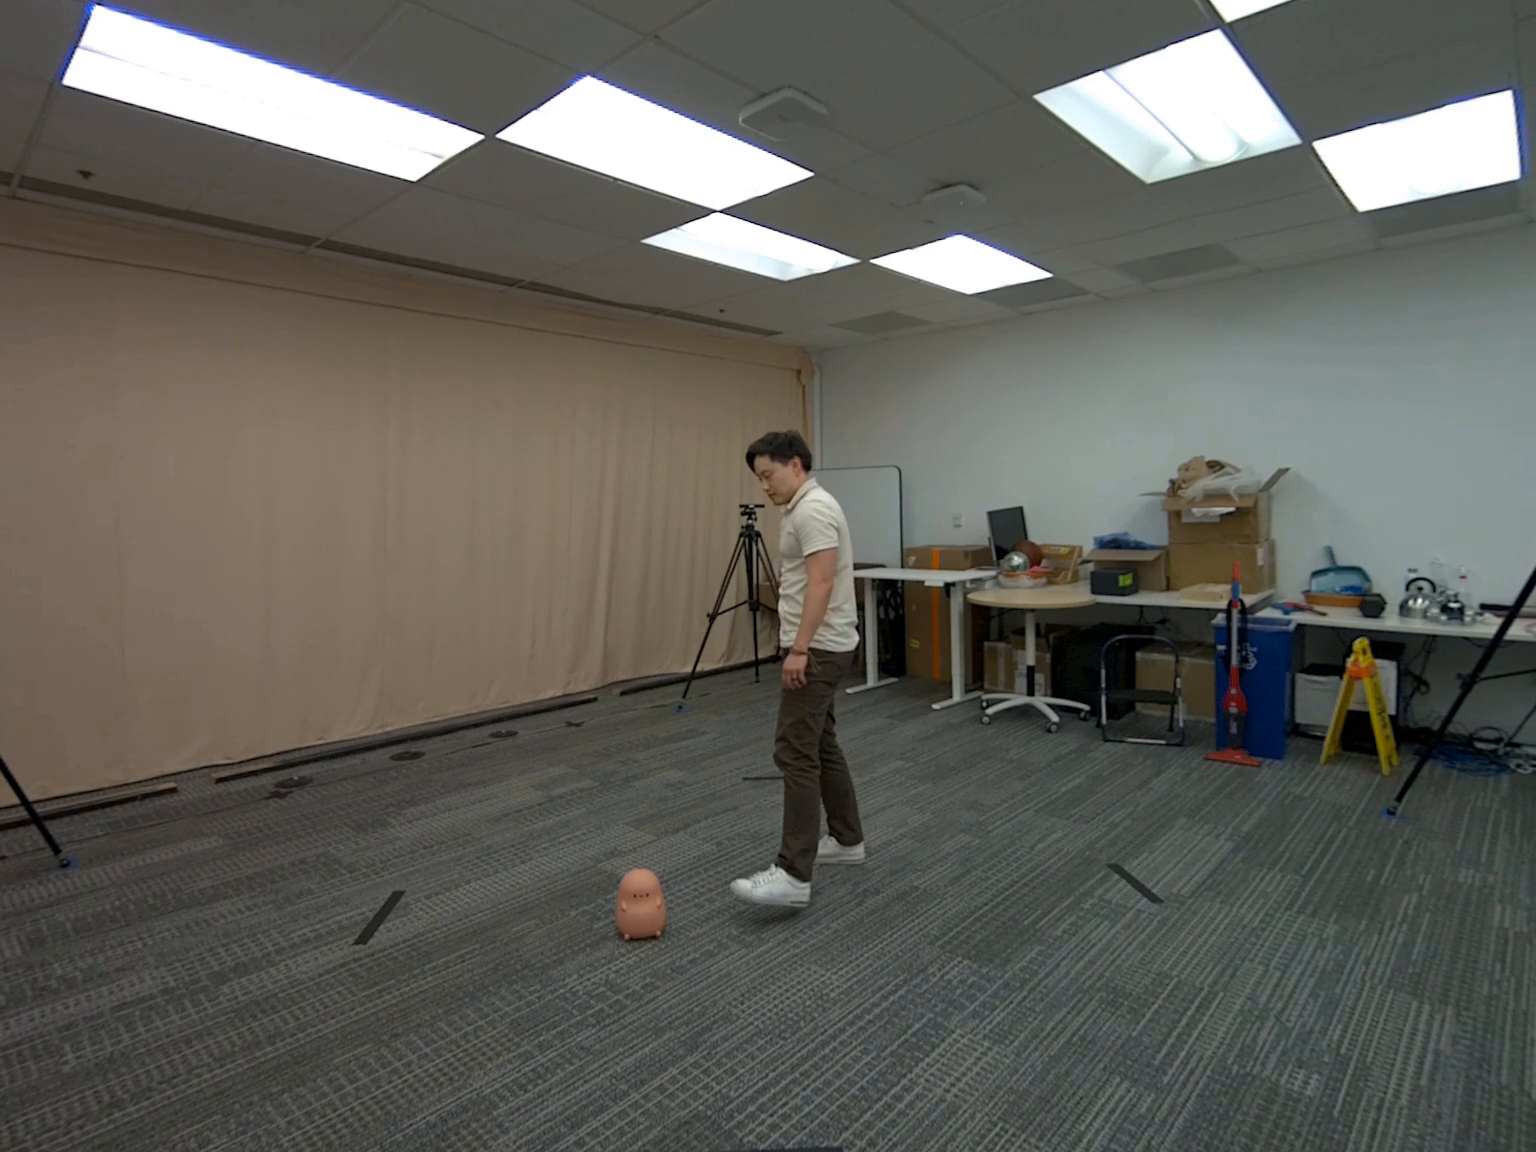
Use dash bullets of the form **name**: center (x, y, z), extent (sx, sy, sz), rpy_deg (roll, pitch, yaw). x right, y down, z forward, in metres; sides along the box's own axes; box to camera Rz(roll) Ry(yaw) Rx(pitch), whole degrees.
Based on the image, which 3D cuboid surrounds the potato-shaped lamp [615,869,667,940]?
- **potato-shaped lamp**: center (-0.412, 1.062, 2.761), extent (0.163, 0.197, 0.173), rpy_deg (-3, 4, -7)
